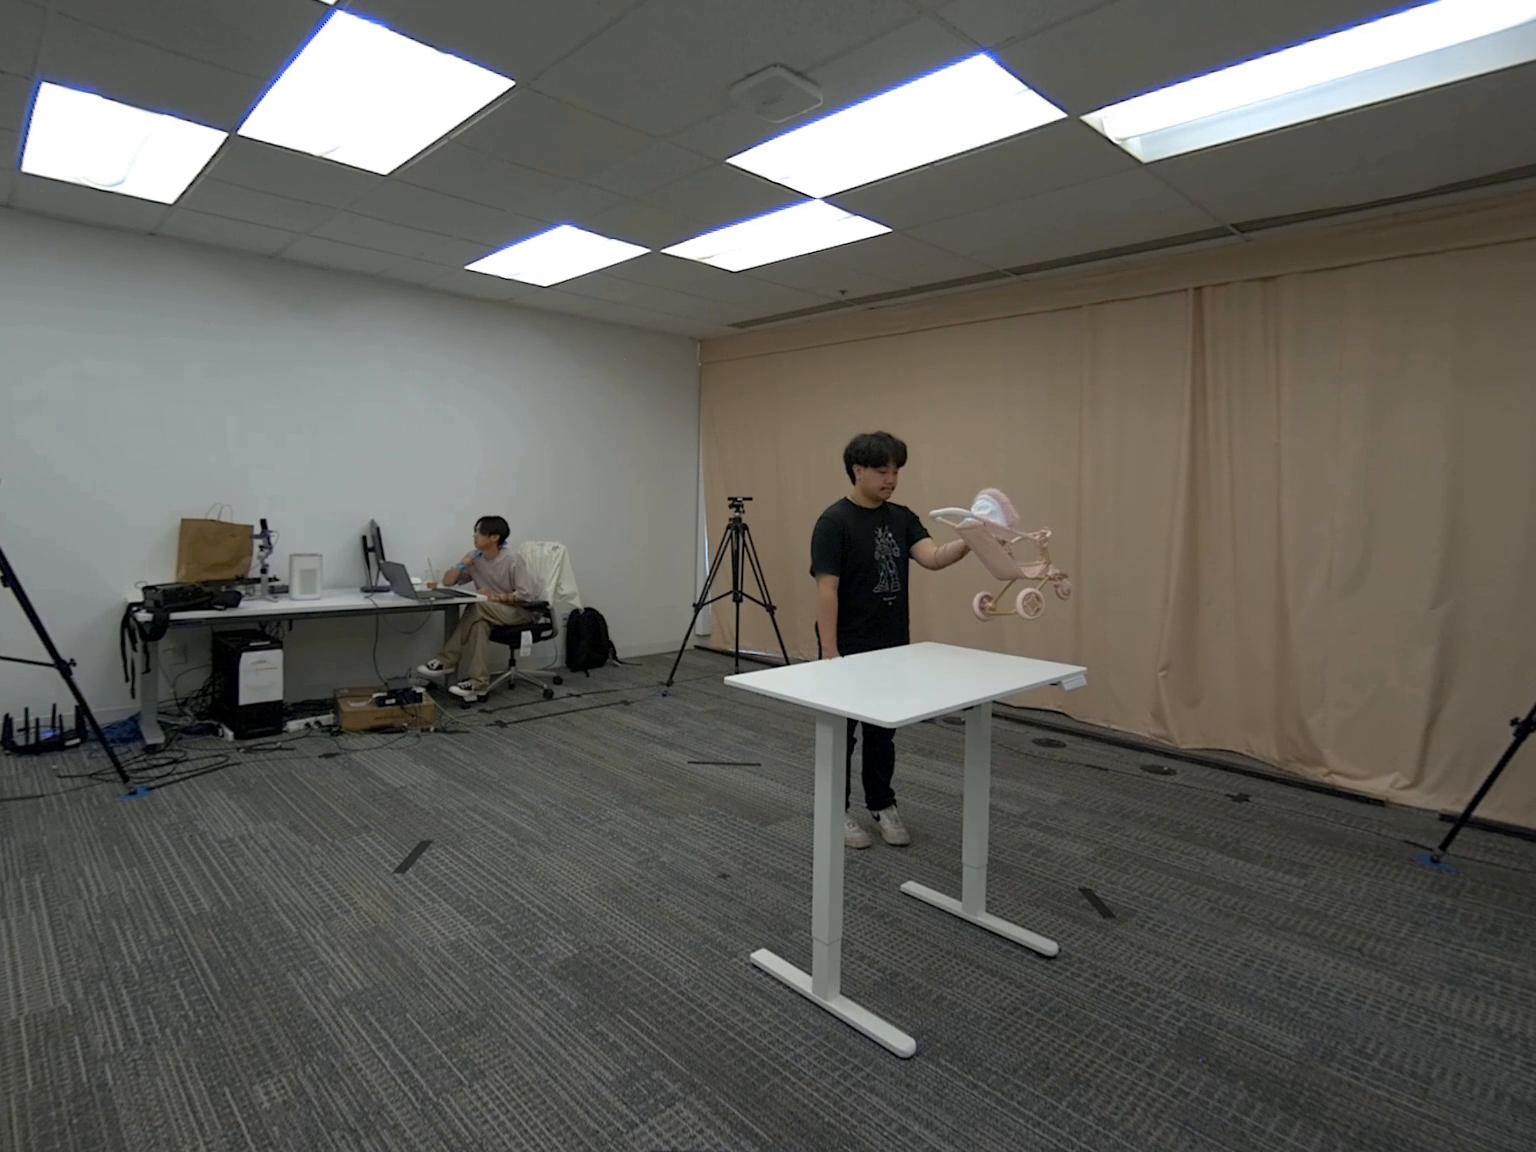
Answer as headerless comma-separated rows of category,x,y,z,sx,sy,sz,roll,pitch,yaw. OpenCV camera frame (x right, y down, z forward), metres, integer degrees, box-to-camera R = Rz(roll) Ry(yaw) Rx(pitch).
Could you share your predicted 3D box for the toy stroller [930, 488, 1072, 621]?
toy stroller,0.853,-0.082,2.999,0.340,0.532,0.284,-31,6,-15
